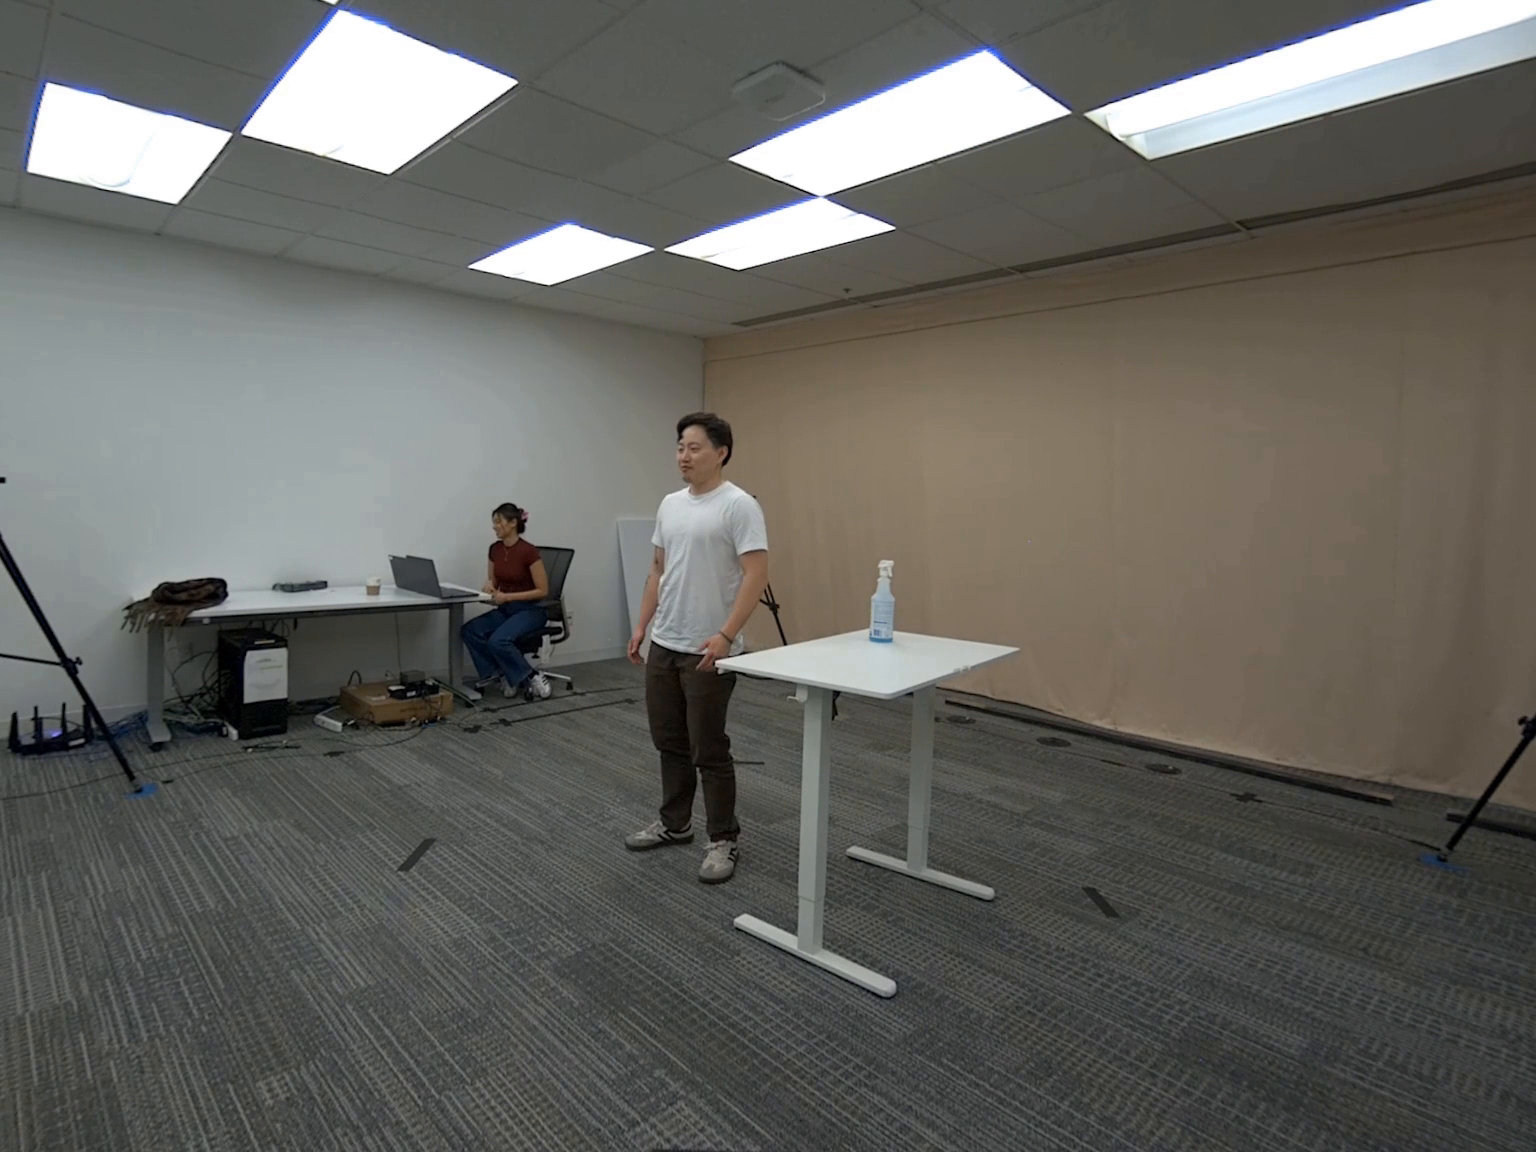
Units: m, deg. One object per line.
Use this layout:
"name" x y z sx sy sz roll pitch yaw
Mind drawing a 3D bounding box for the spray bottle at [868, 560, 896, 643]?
"spray bottle" 0.411 0.091 3.065 0.087 0.296 0.090 2 5 5
